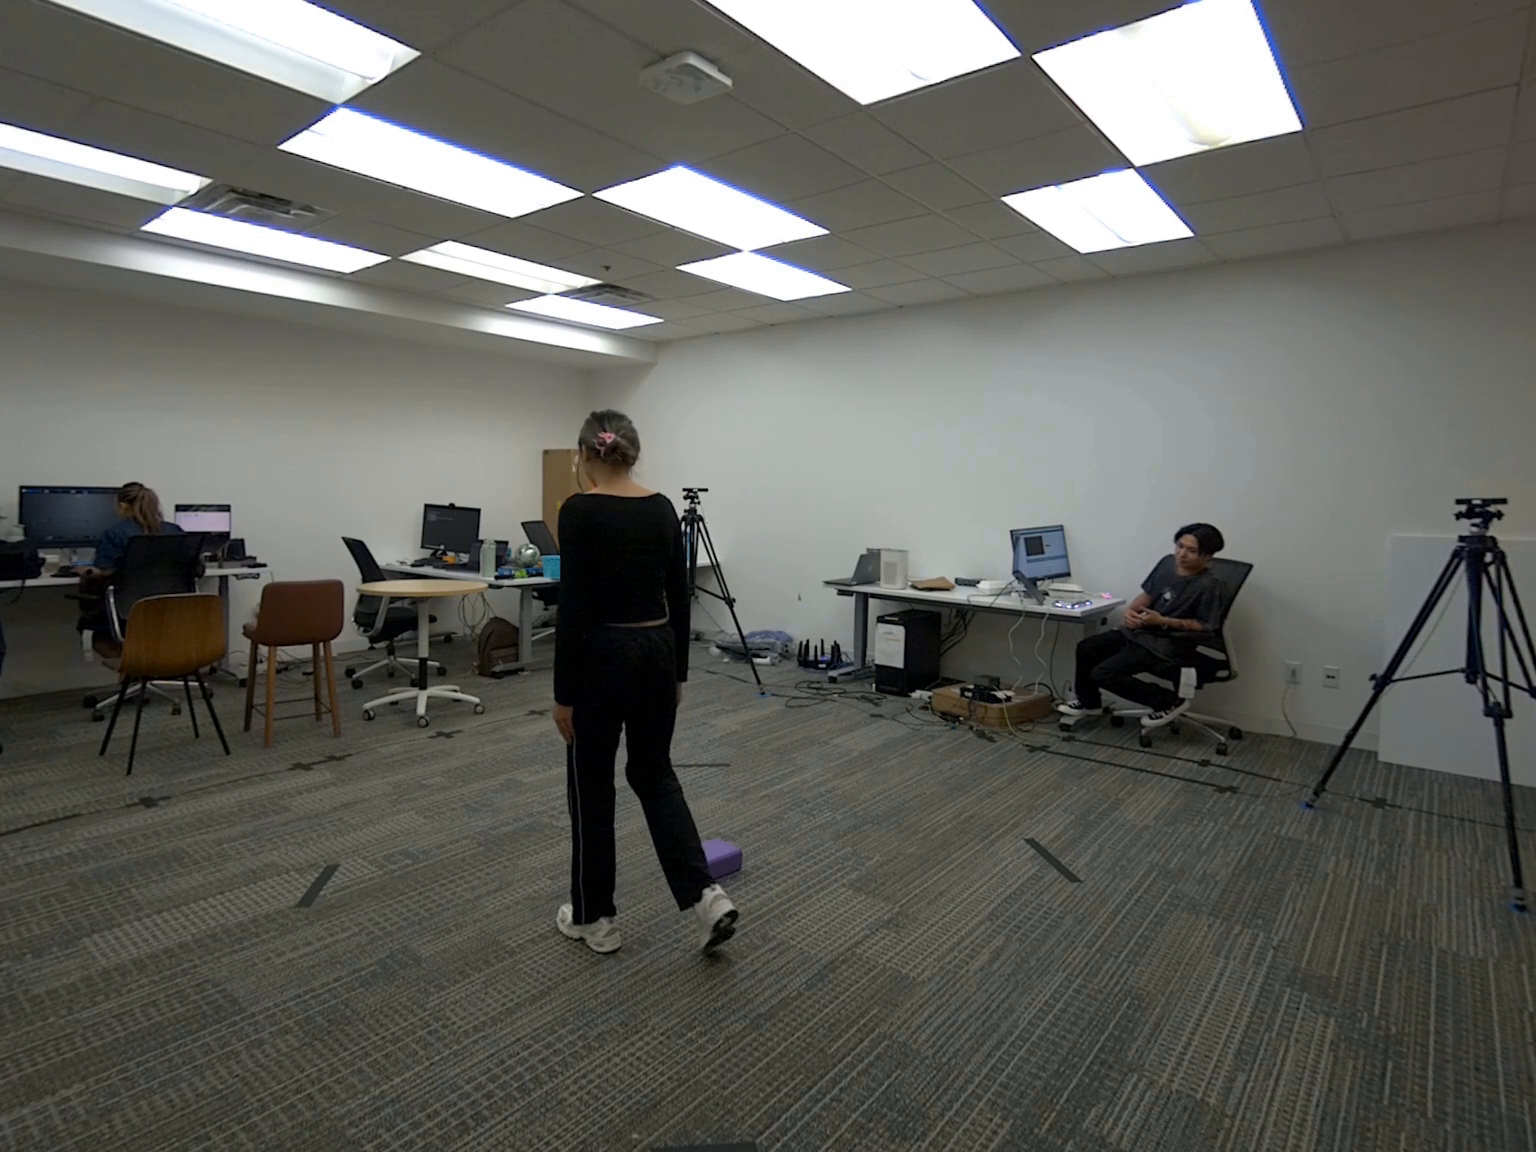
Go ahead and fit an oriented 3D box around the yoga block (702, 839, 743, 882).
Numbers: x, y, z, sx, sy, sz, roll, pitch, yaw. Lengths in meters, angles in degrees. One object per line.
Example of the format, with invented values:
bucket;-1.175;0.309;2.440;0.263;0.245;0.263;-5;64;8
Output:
yoga block;-0.231;1.029;3.089;0.222;0.076;0.154;-4;6;-43
